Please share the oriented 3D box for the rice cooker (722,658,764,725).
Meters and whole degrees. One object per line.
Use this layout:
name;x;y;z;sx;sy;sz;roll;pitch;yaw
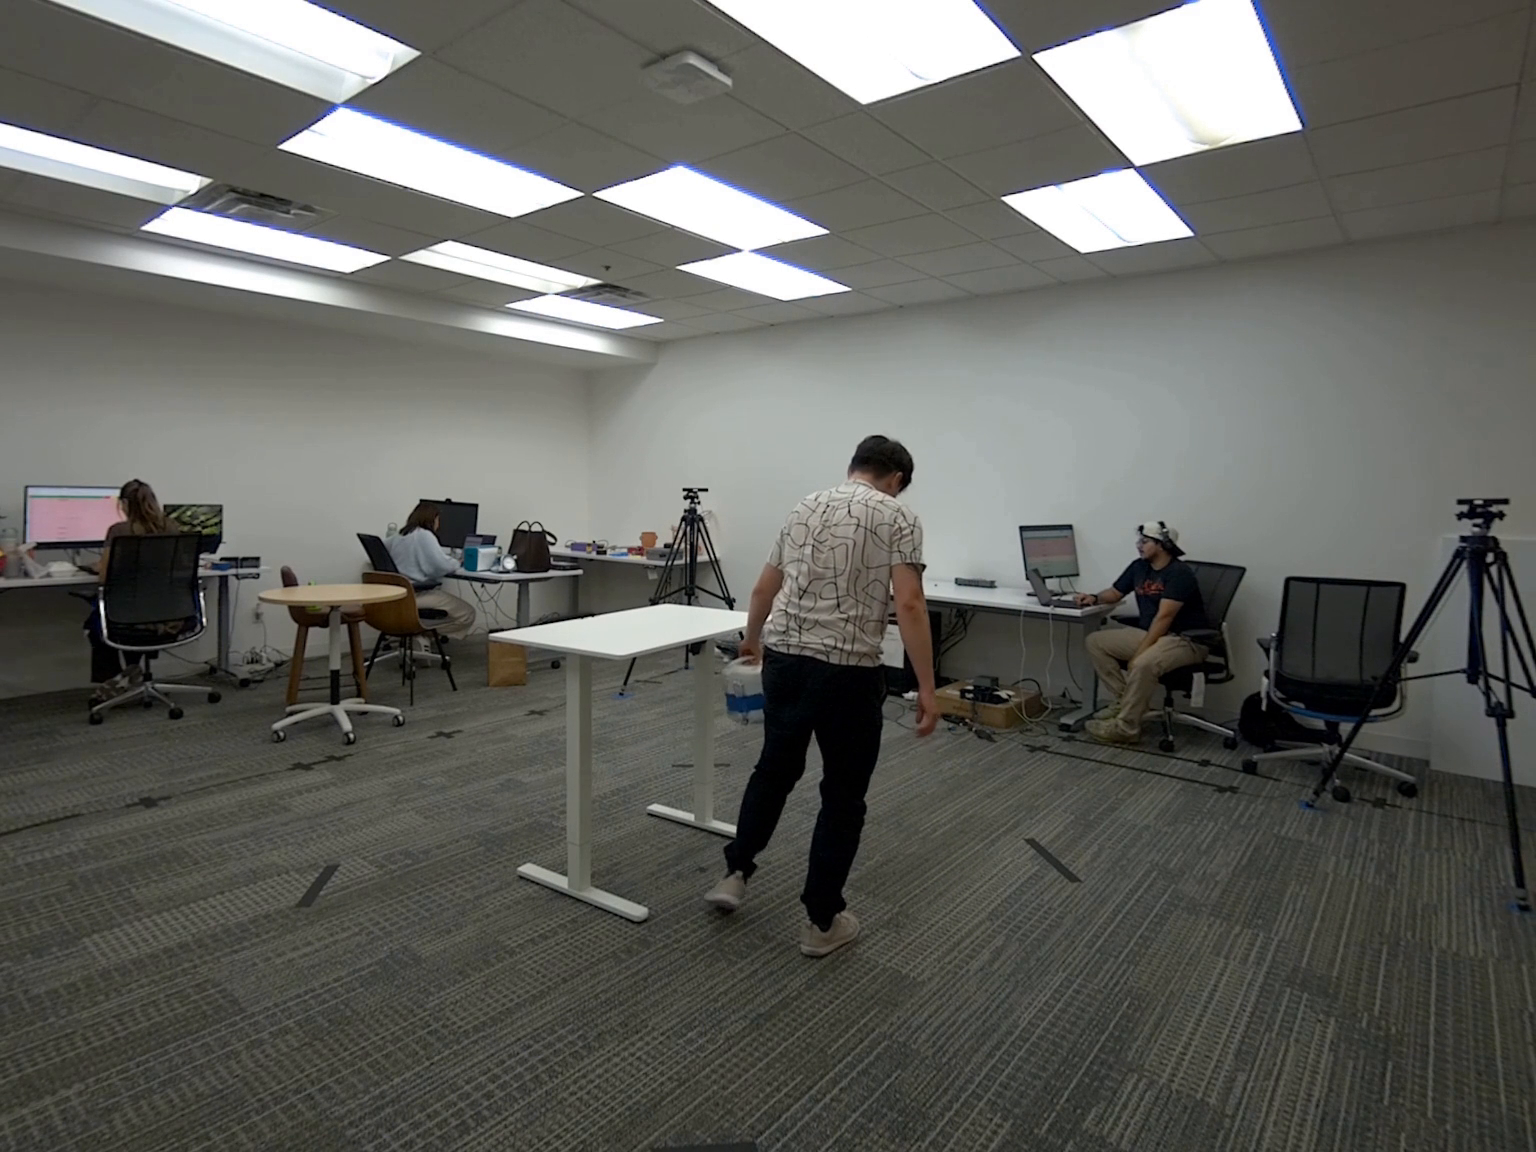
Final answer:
rice cooker;-0.066;0.402;3.069;0.216;0.232;0.222;-2;5;-21
